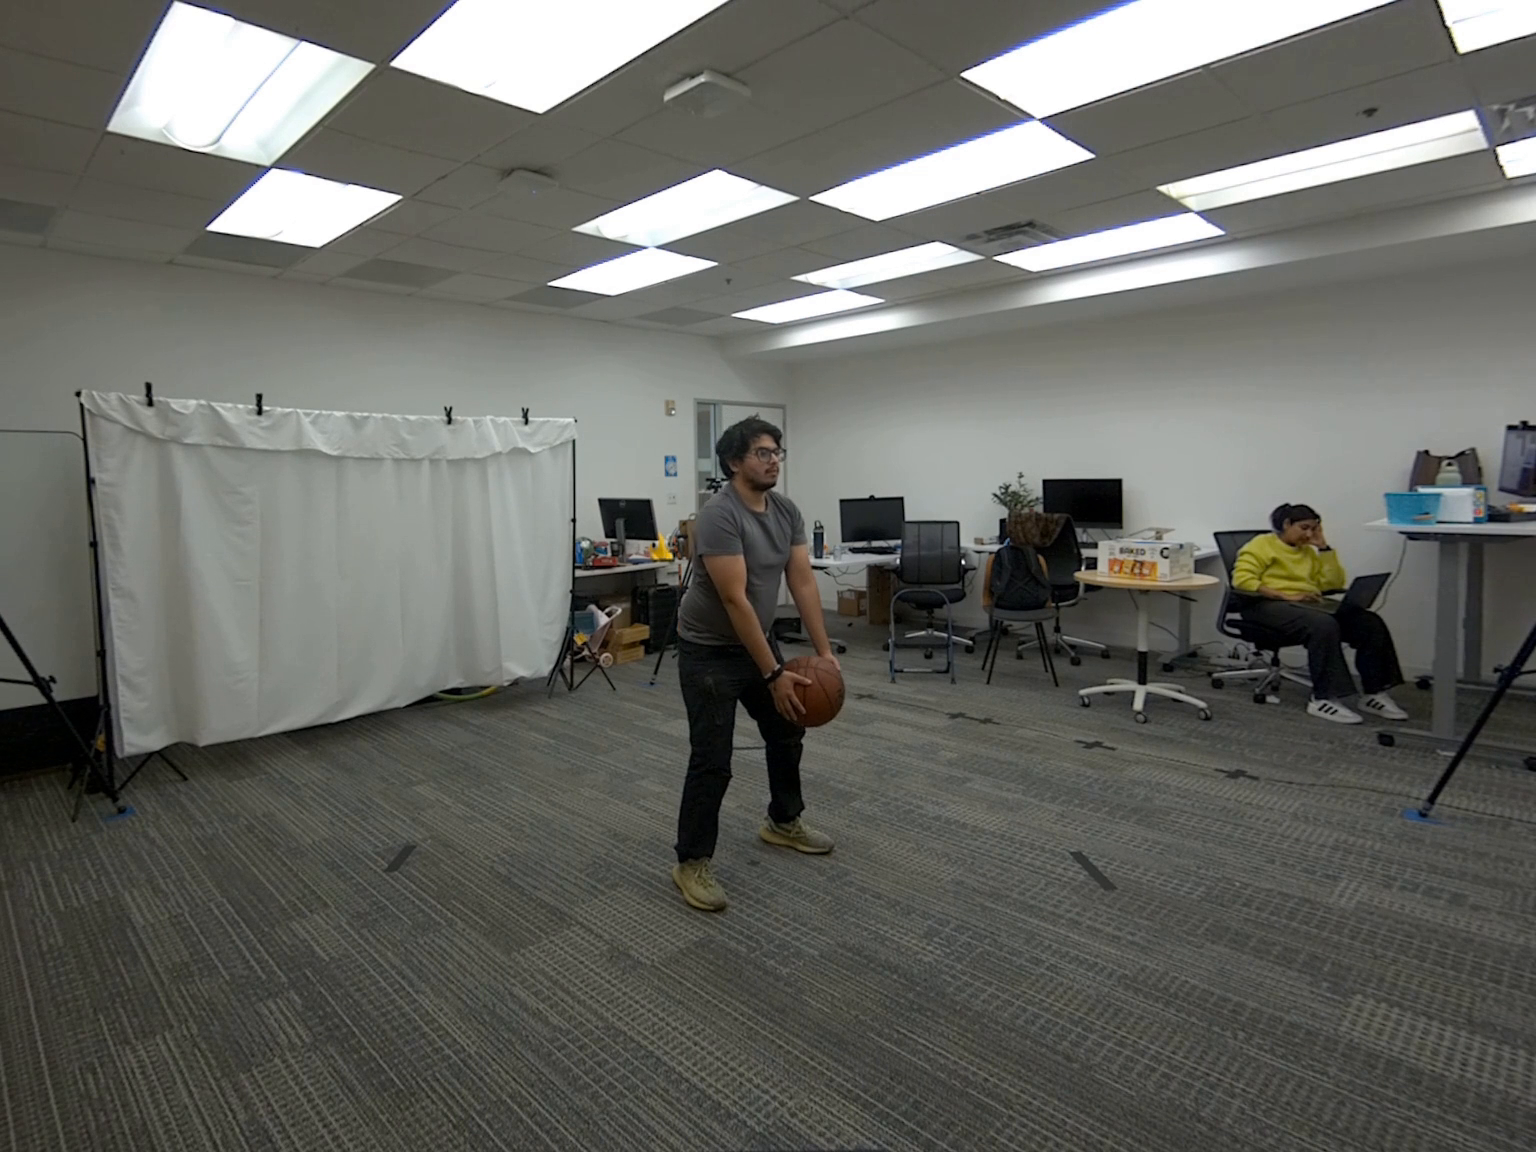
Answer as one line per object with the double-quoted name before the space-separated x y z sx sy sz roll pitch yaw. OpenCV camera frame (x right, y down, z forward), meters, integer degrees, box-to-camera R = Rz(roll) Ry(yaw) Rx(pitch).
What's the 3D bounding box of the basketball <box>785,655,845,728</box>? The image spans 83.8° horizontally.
"basketball" 0.134 0.385 2.839 0.236 0.235 0.237 -1 5 -2
